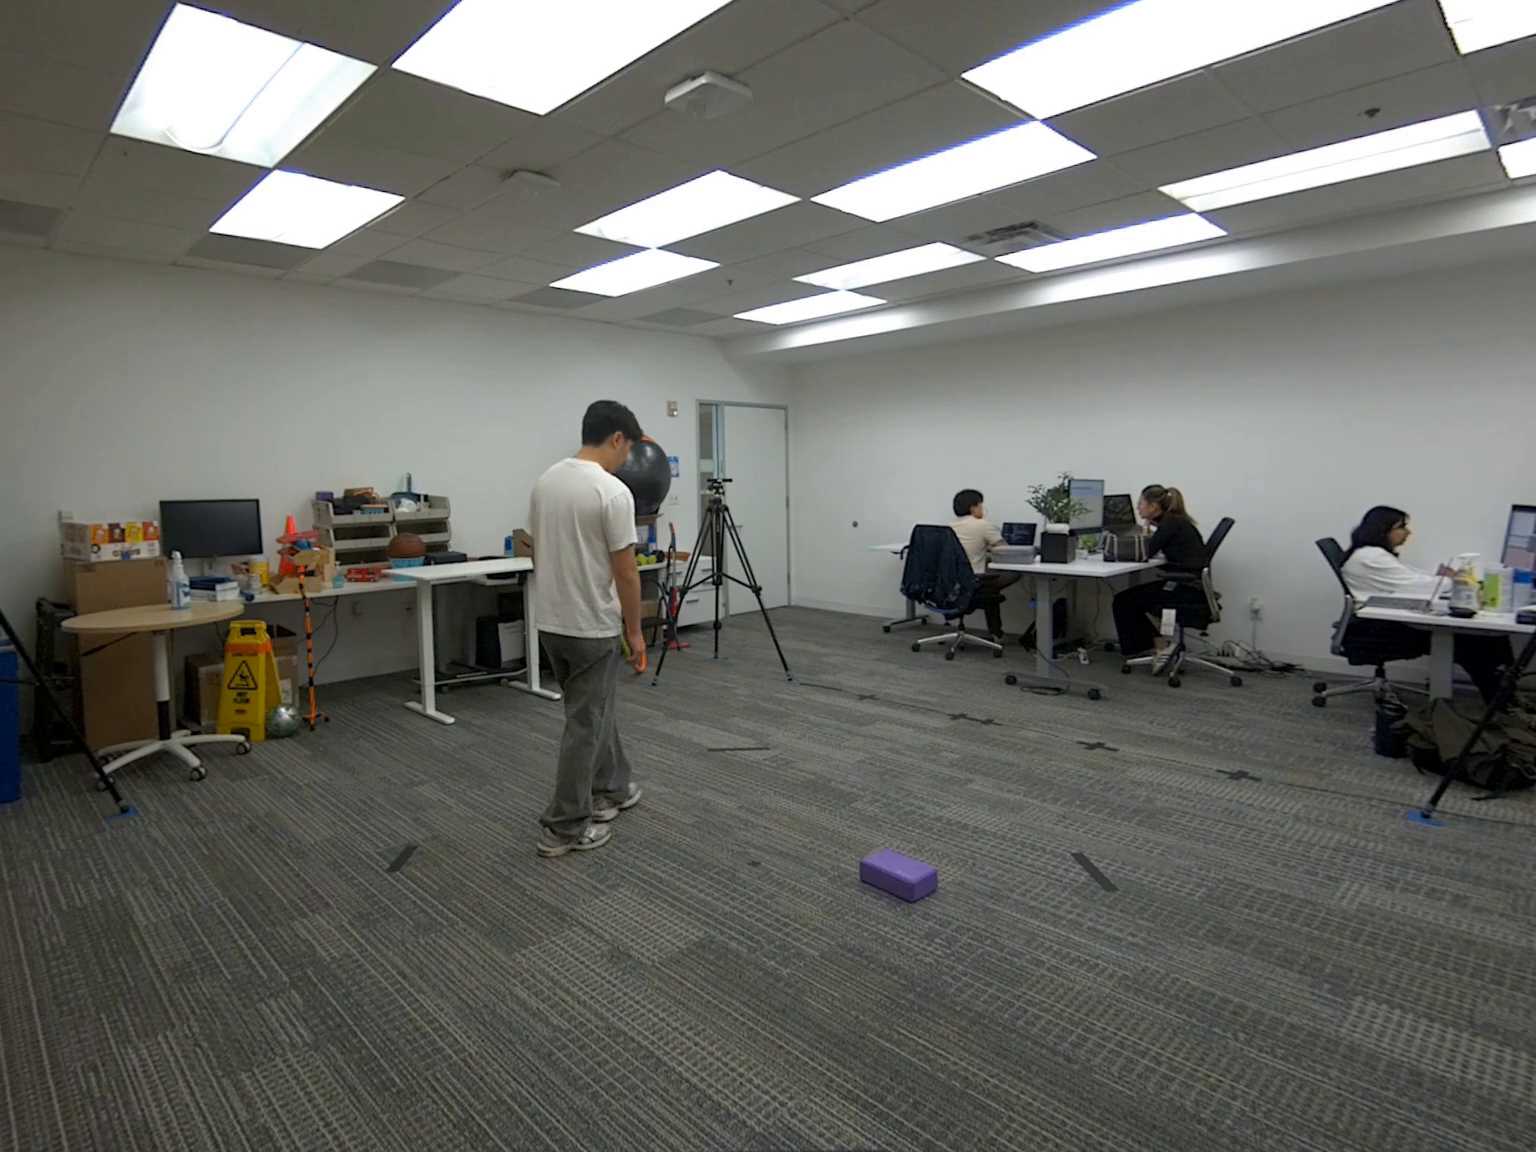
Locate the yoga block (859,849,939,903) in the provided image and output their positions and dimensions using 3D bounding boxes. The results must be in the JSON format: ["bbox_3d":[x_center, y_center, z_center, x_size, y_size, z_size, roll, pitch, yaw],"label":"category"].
[{"bbox_3d":[0.450,1.021,2.922,0.145,0.076,0.236,-6,8,-42],"label":"yoga block"}]
